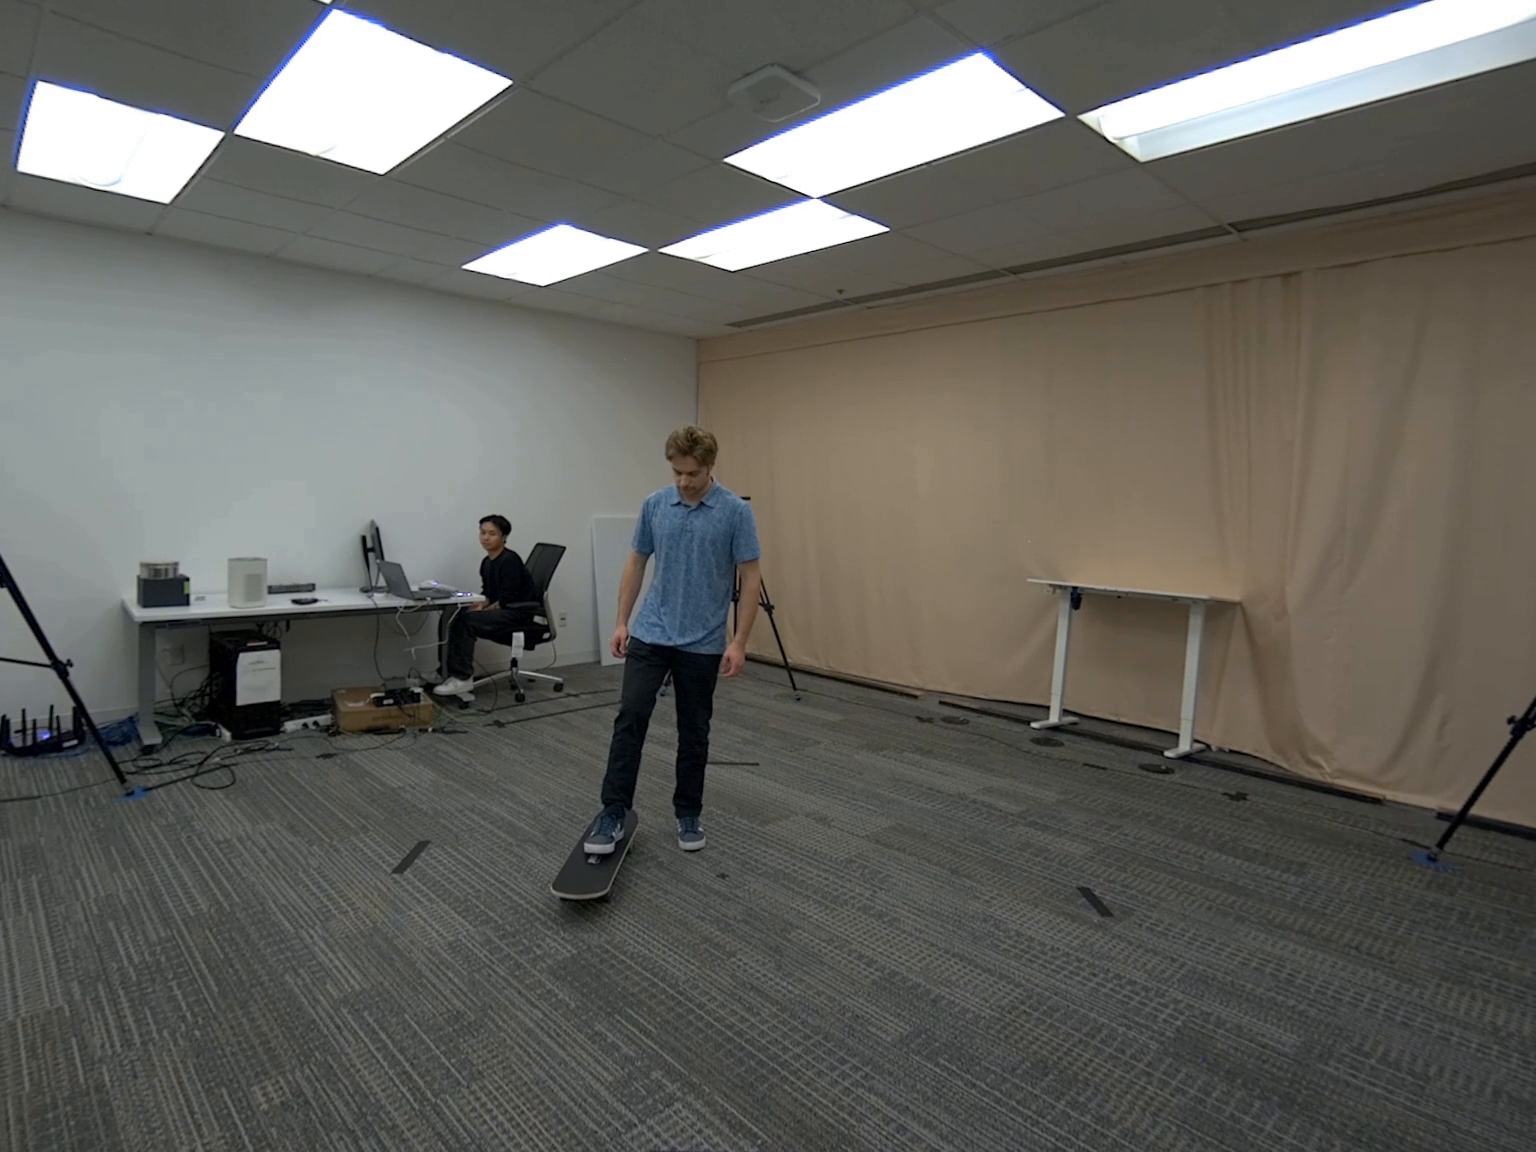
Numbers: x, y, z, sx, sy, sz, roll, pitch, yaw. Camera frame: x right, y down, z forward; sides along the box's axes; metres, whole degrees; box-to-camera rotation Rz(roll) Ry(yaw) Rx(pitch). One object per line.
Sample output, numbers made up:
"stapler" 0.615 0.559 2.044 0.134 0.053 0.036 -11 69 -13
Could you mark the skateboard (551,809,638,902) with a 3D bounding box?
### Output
"skateboard" -0.621 1.036 3.097 0.194 0.110 0.785 3 5 2
